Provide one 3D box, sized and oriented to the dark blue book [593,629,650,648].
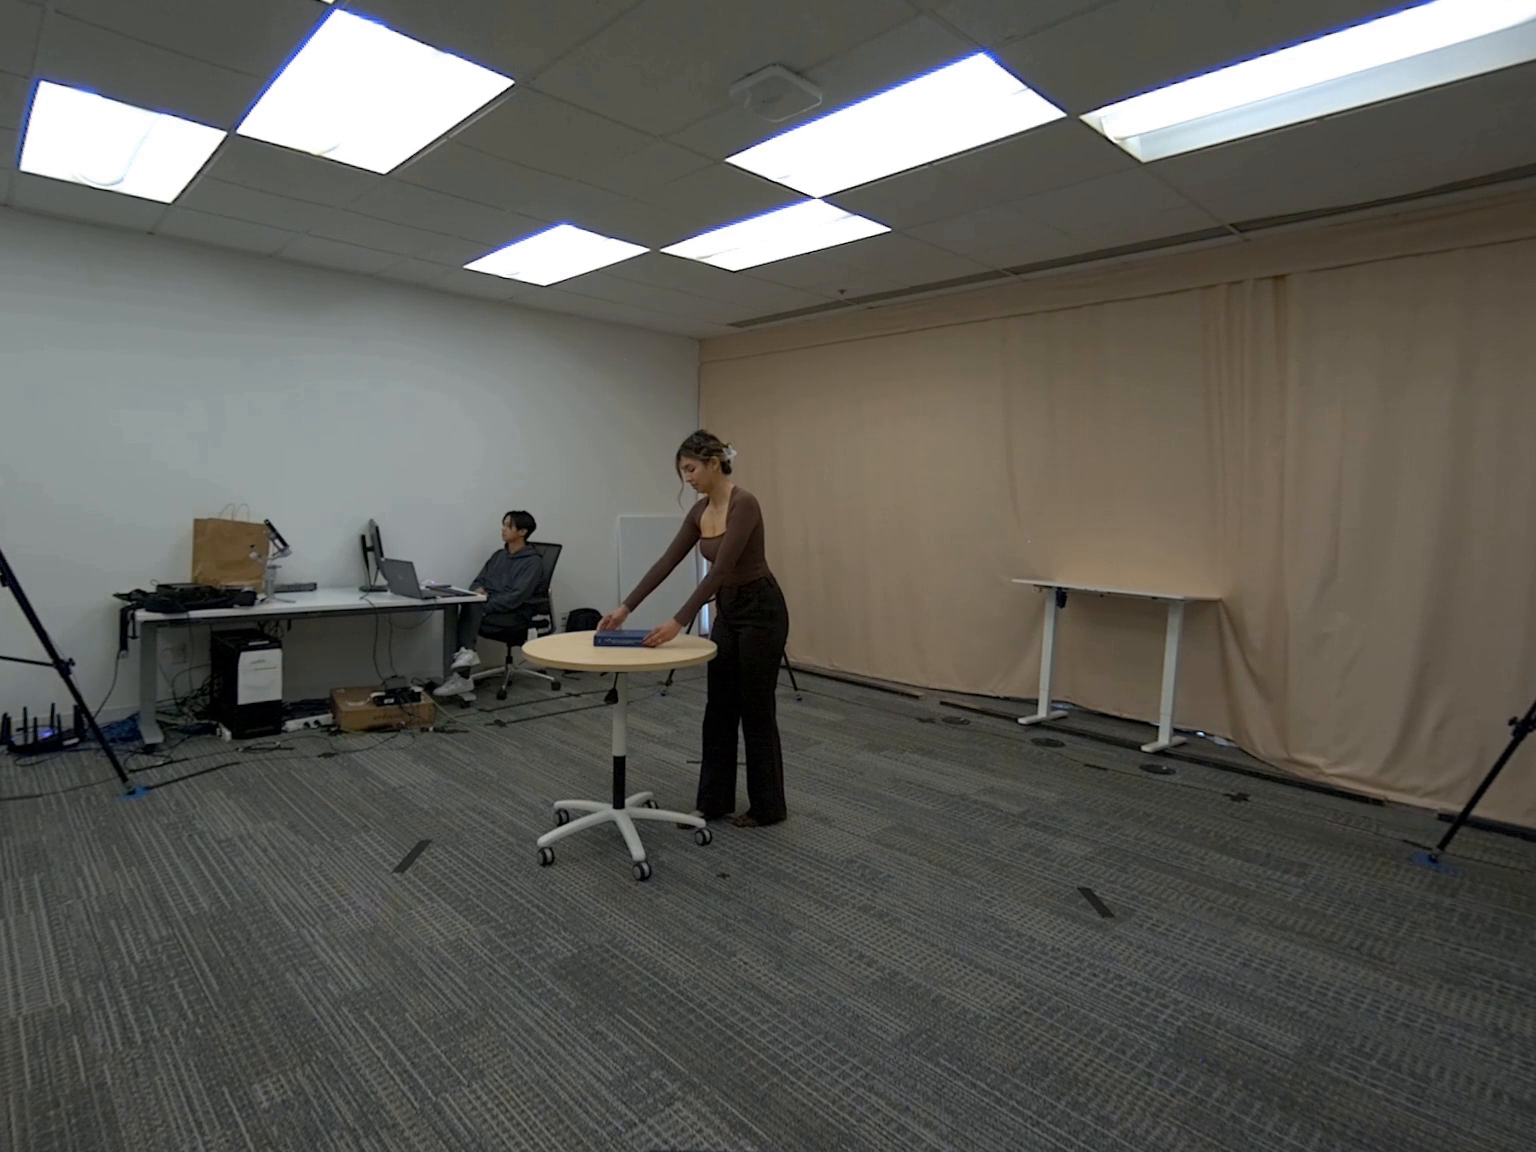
[{"bbox_3d":[-0.580,0.256,3.397,0.245,0.045,0.163,2,5,1],"label":"dark blue book"}]
